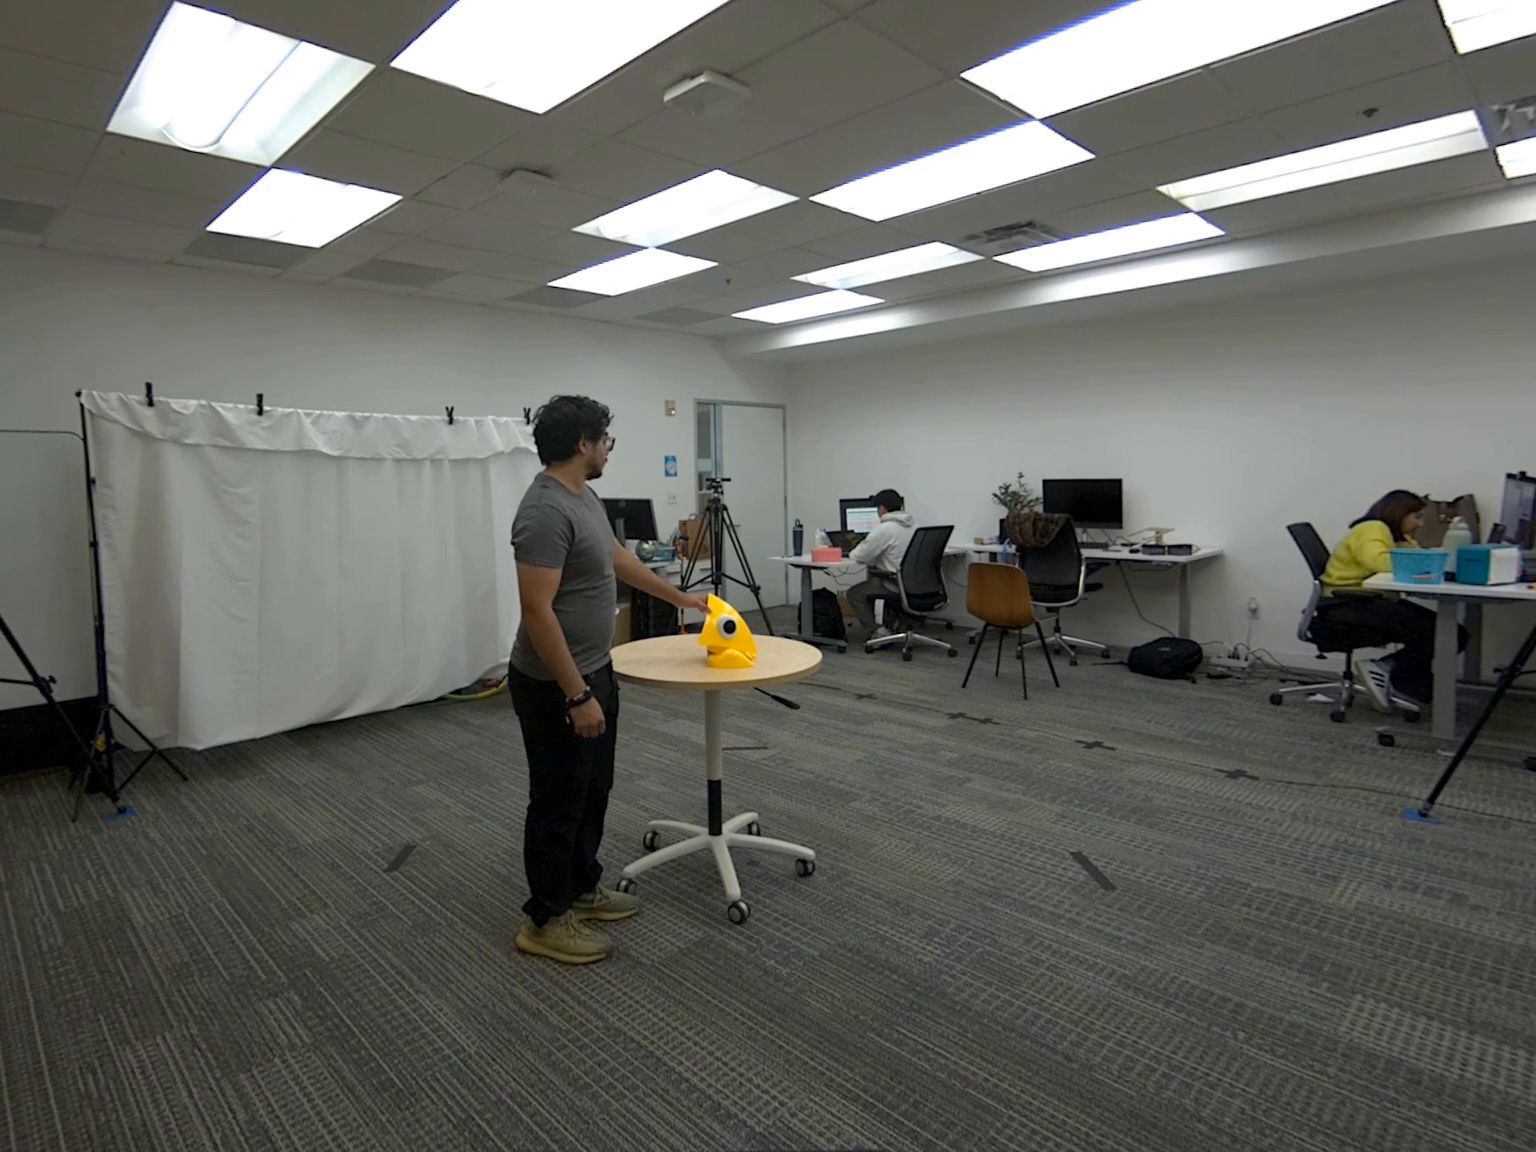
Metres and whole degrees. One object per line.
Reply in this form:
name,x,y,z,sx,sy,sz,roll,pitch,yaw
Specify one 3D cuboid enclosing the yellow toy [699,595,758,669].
yellow toy,-0.131,0.173,2.873,0.194,0.229,0.205,-2,6,4
